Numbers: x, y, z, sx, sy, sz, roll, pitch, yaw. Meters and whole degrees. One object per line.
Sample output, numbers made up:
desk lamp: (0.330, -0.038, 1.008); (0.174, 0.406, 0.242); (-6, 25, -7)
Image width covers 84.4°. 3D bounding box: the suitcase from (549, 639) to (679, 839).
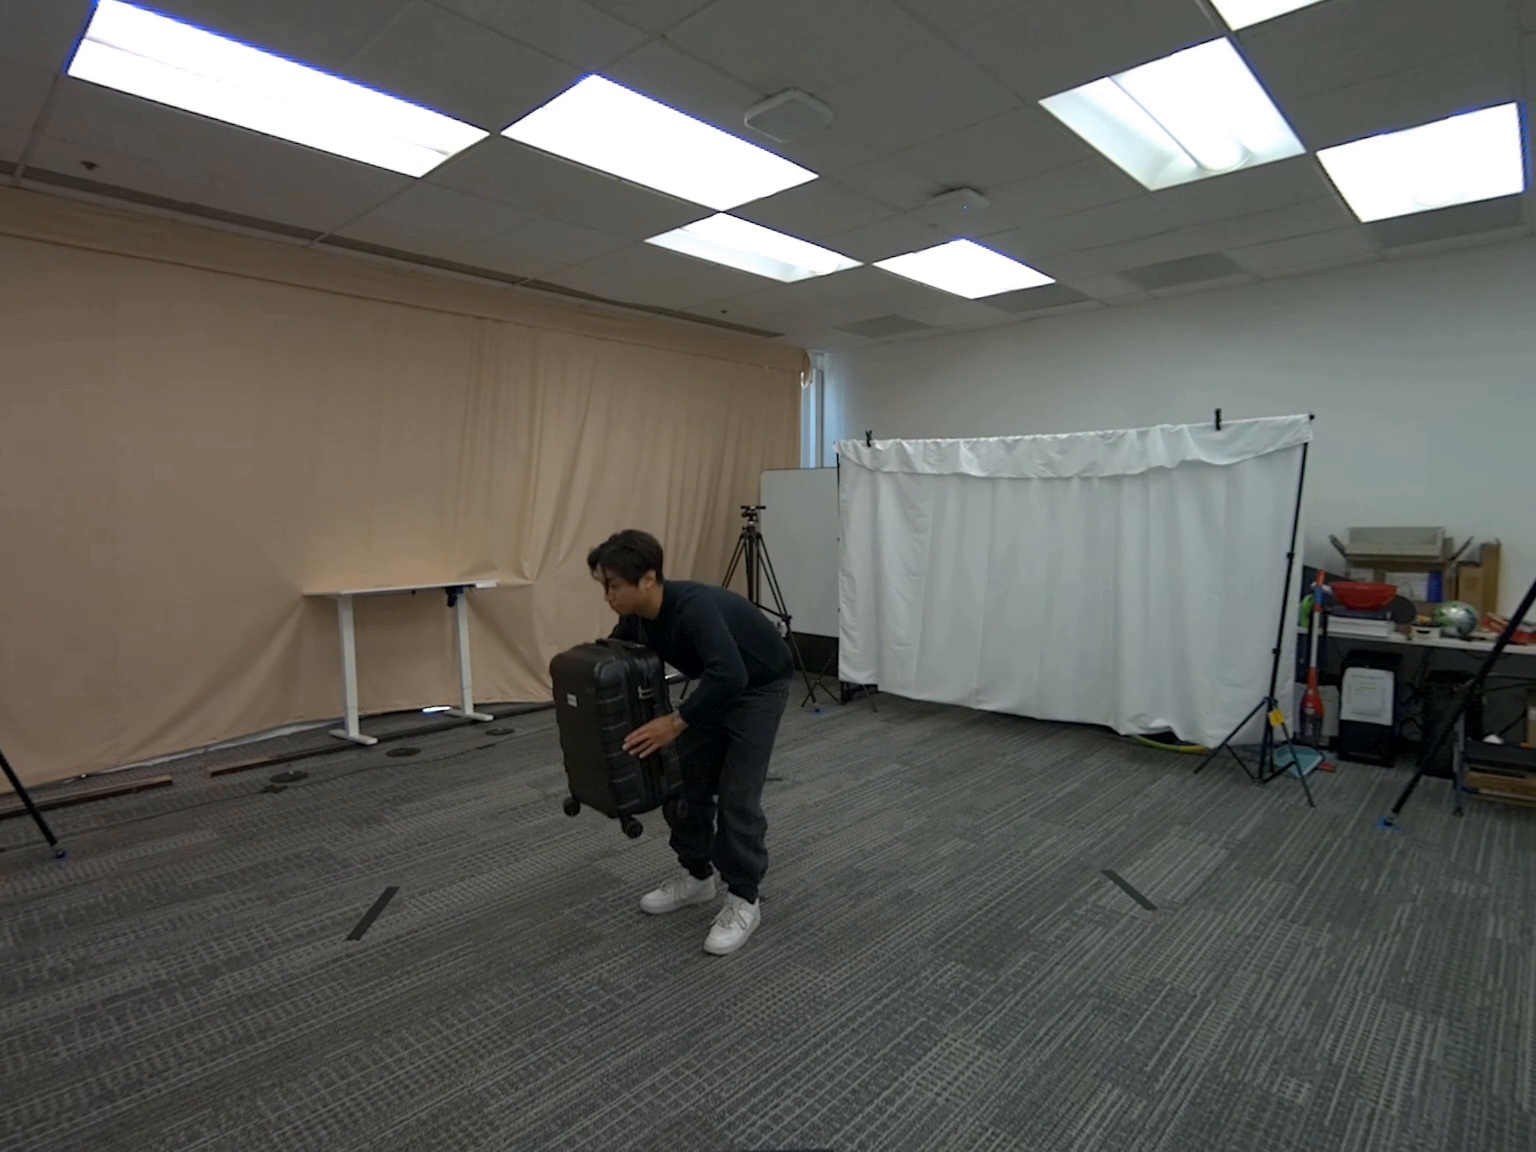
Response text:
suitcase: (-0.473, 0.490, 2.631); (0.242, 0.546, 0.388); (-14, 12, -41)
